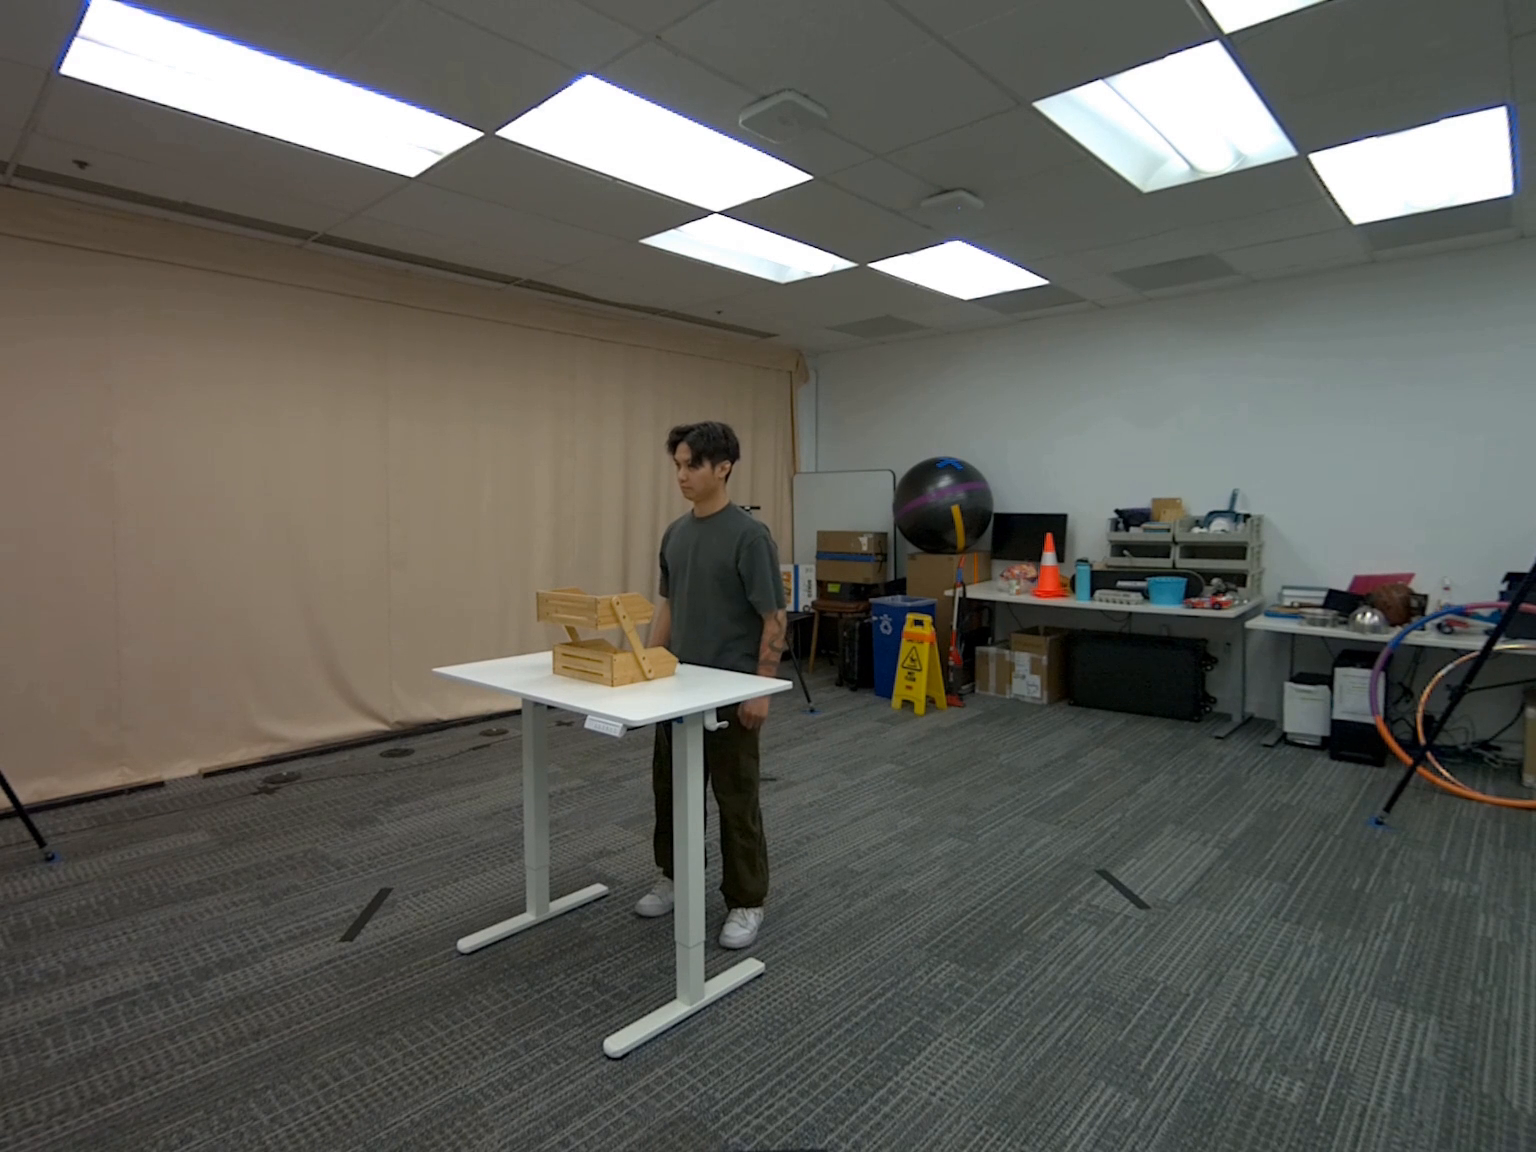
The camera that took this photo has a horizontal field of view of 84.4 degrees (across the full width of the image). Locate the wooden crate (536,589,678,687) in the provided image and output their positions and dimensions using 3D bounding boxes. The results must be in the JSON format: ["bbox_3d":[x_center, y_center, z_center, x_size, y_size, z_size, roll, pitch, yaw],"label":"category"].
[{"bbox_3d":[-0.486,0.169,2.542,0.335,0.273,0.293,2,5,43],"label":"wooden crate"}]
